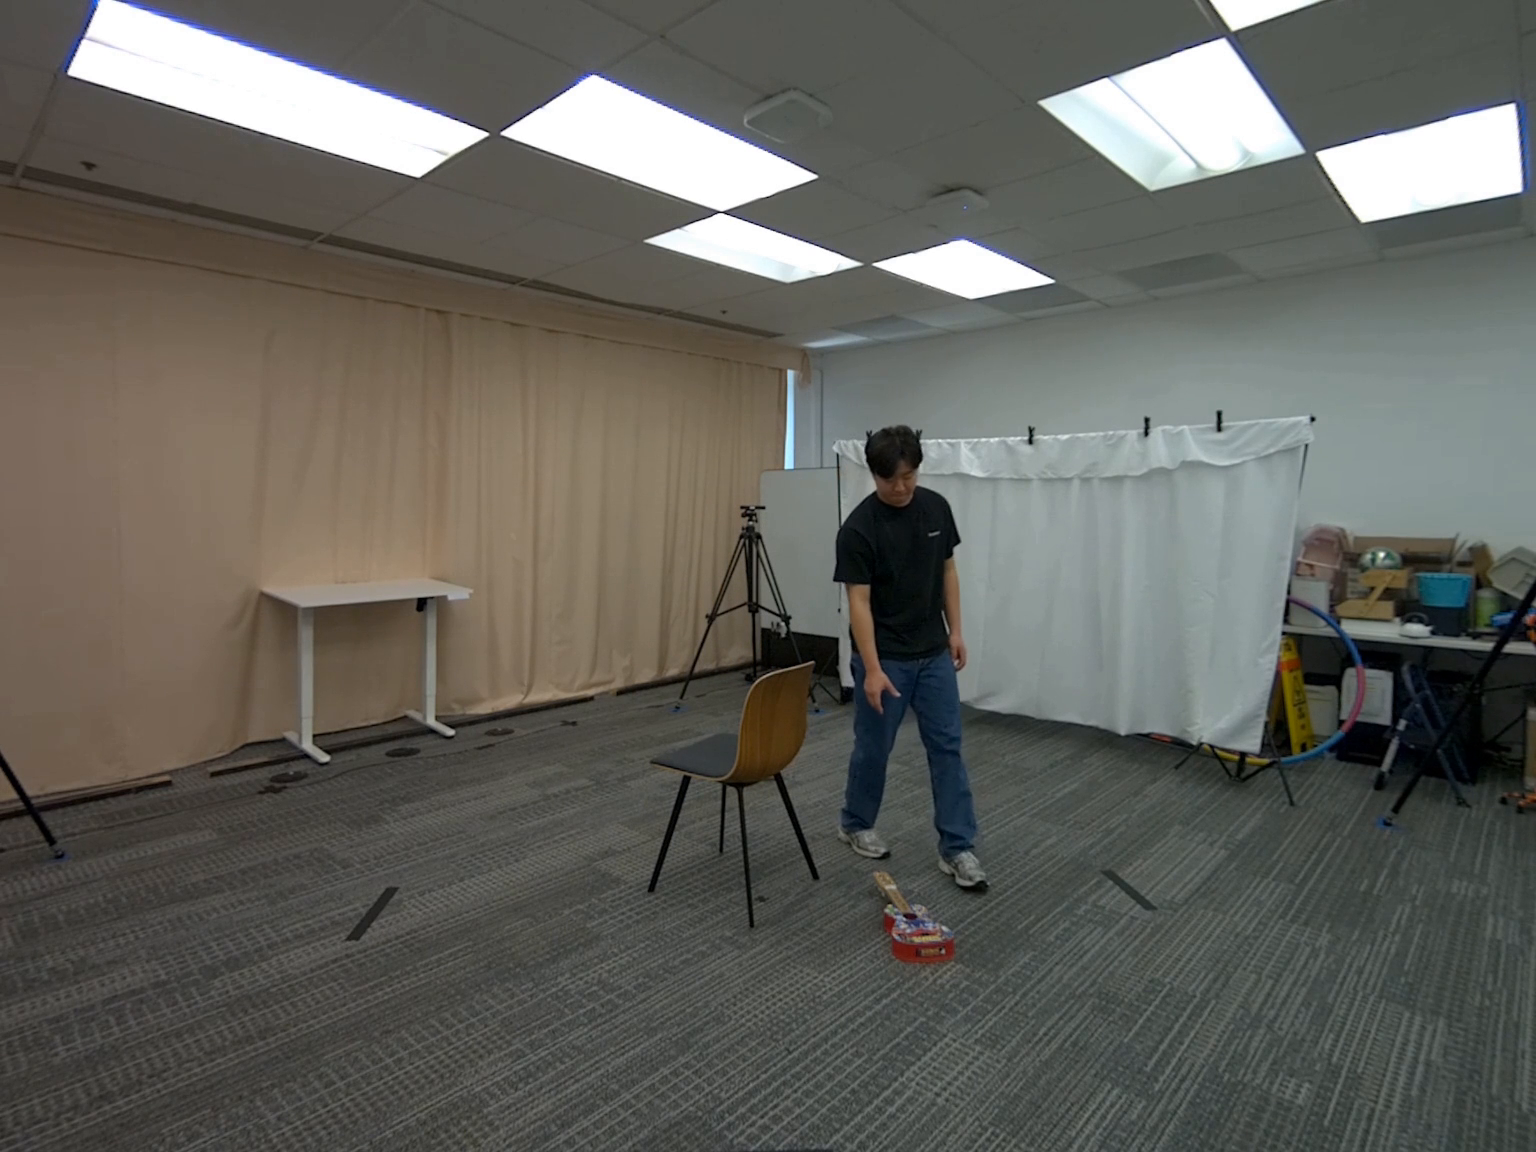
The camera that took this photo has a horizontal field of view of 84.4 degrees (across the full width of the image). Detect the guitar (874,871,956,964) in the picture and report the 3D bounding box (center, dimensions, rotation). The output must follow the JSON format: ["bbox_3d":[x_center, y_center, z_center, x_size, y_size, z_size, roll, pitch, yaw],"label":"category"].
[{"bbox_3d":[0.478,1.118,2.807,0.193,0.070,0.499,-1,5,-1],"label":"guitar"}]
